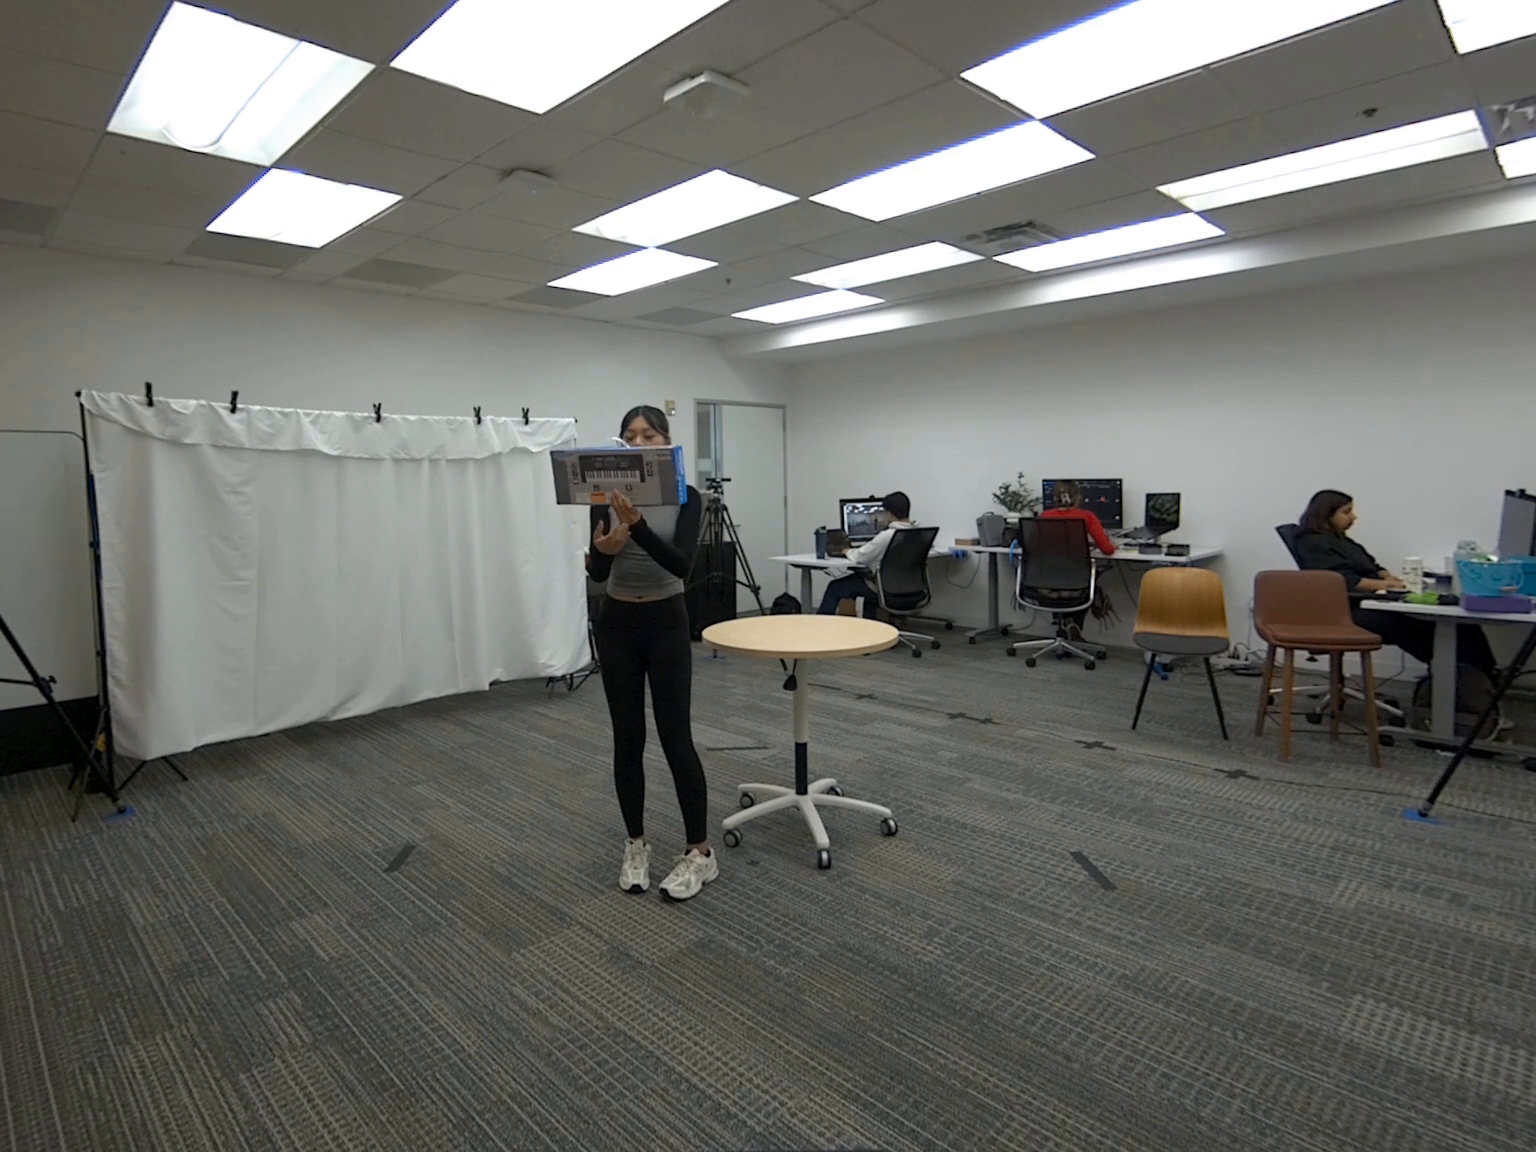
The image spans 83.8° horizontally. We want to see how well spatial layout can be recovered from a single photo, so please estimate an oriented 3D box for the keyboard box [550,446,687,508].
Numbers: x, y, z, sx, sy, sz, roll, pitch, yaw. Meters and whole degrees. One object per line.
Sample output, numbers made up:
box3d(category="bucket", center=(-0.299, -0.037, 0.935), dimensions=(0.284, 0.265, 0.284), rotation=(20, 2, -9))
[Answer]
box3d(category="keyboard box", center=(-0.459, -0.302, 2.592), dimensions=(0.447, 0.173, 0.058), rotation=(2, 15, 24))
